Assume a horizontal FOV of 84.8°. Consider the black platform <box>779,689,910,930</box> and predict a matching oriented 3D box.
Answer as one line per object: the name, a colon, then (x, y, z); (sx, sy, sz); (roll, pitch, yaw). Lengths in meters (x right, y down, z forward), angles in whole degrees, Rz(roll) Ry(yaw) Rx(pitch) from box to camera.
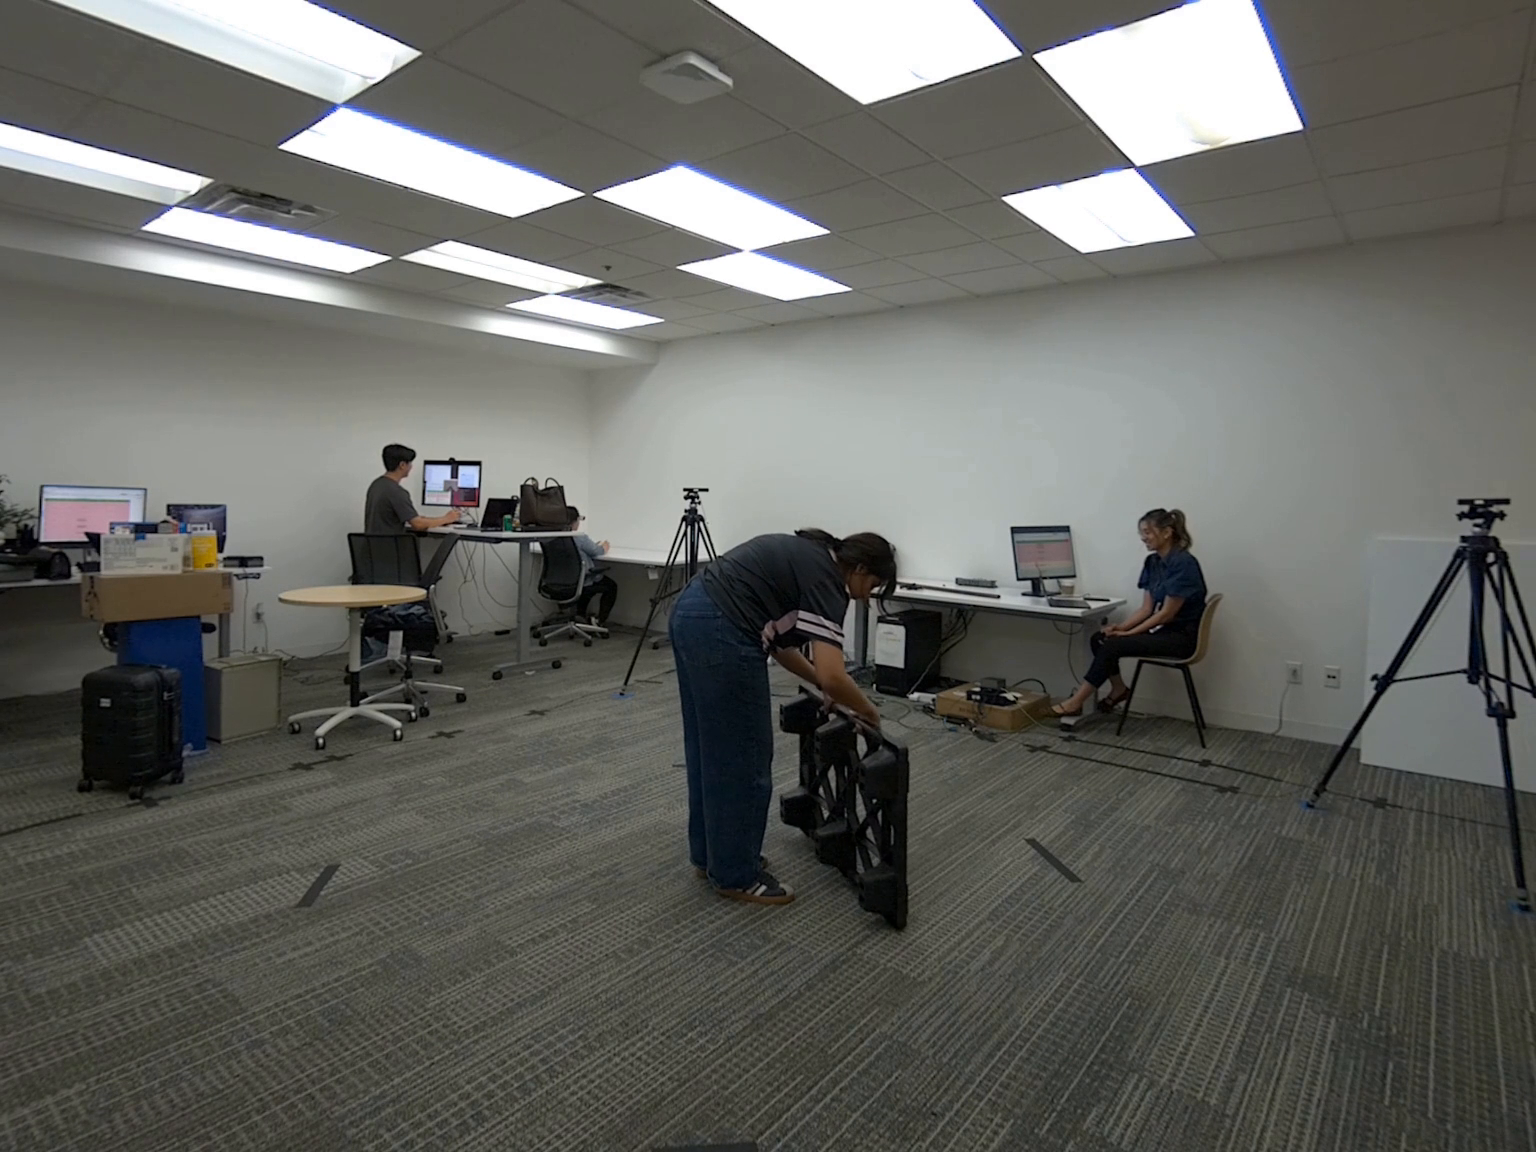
black platform: (0.238, 0.777, 3.043); (0.141, 0.602, 0.825); (-2, 6, -20)
